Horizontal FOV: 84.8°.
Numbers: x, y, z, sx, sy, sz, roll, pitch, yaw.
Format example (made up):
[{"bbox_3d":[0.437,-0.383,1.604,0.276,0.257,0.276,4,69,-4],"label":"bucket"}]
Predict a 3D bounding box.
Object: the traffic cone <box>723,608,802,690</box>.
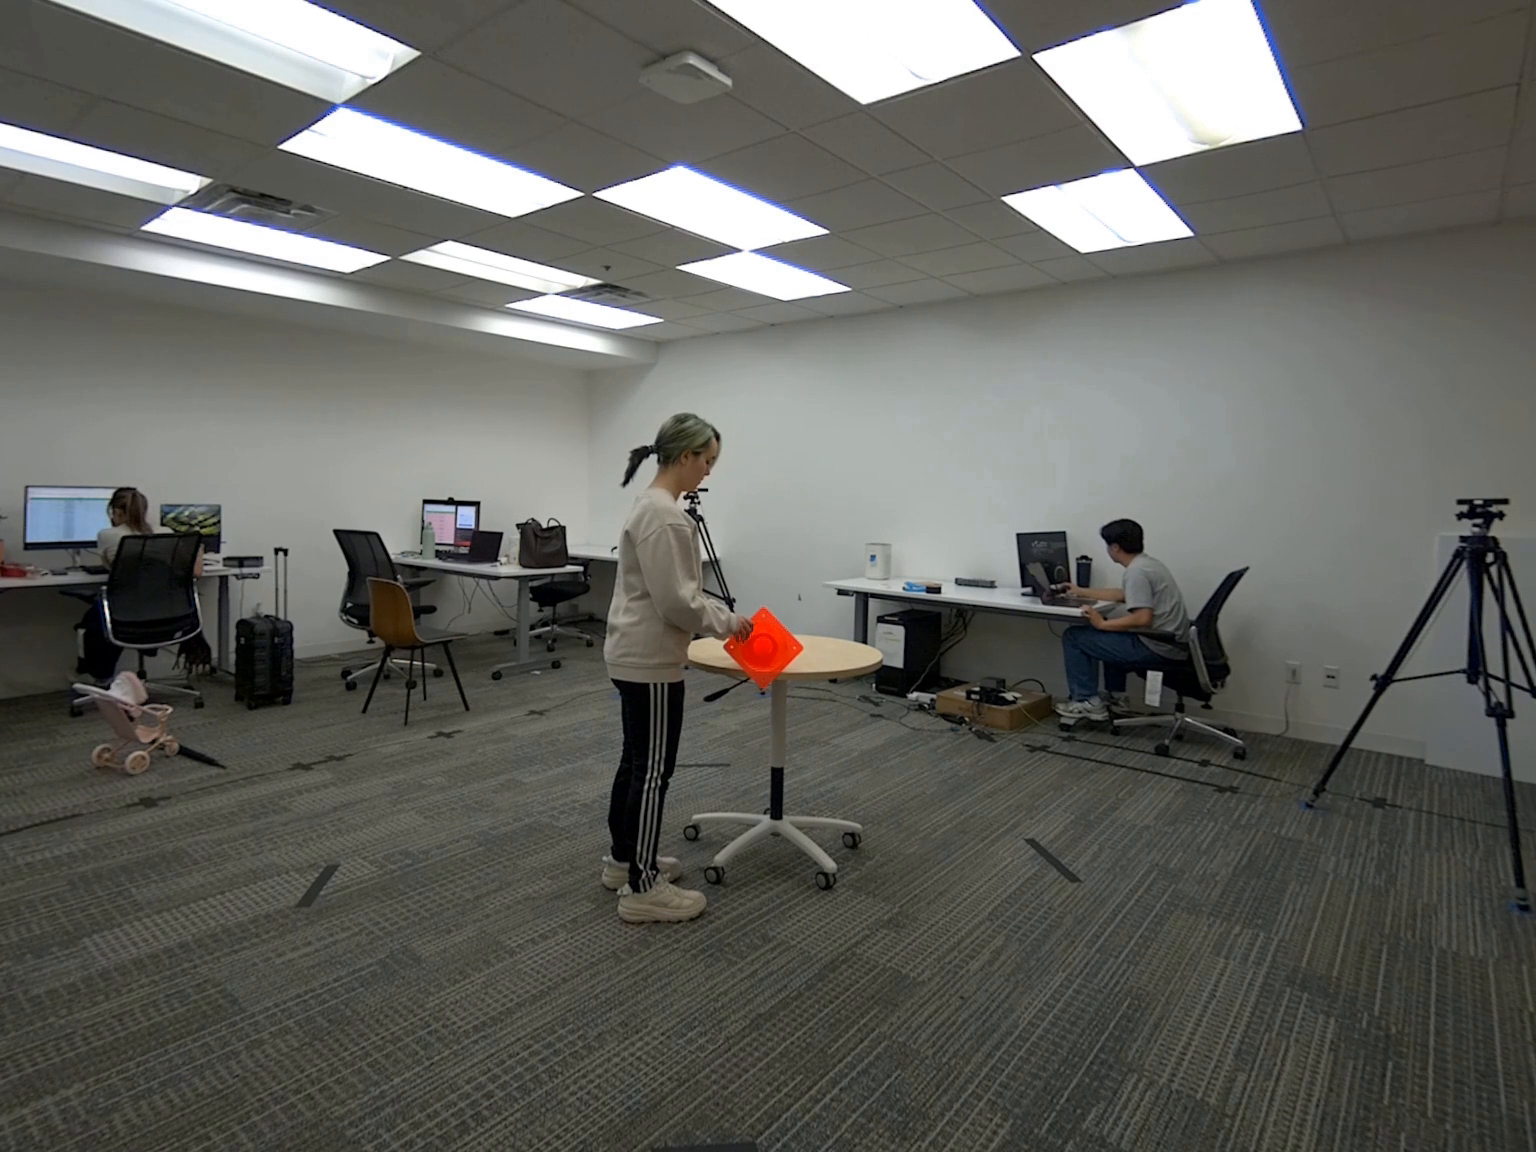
[{"bbox_3d":[-0.022,0.252,3.022,0.204,0.205,0.381,44,-2,2],"label":"traffic cone"}]
